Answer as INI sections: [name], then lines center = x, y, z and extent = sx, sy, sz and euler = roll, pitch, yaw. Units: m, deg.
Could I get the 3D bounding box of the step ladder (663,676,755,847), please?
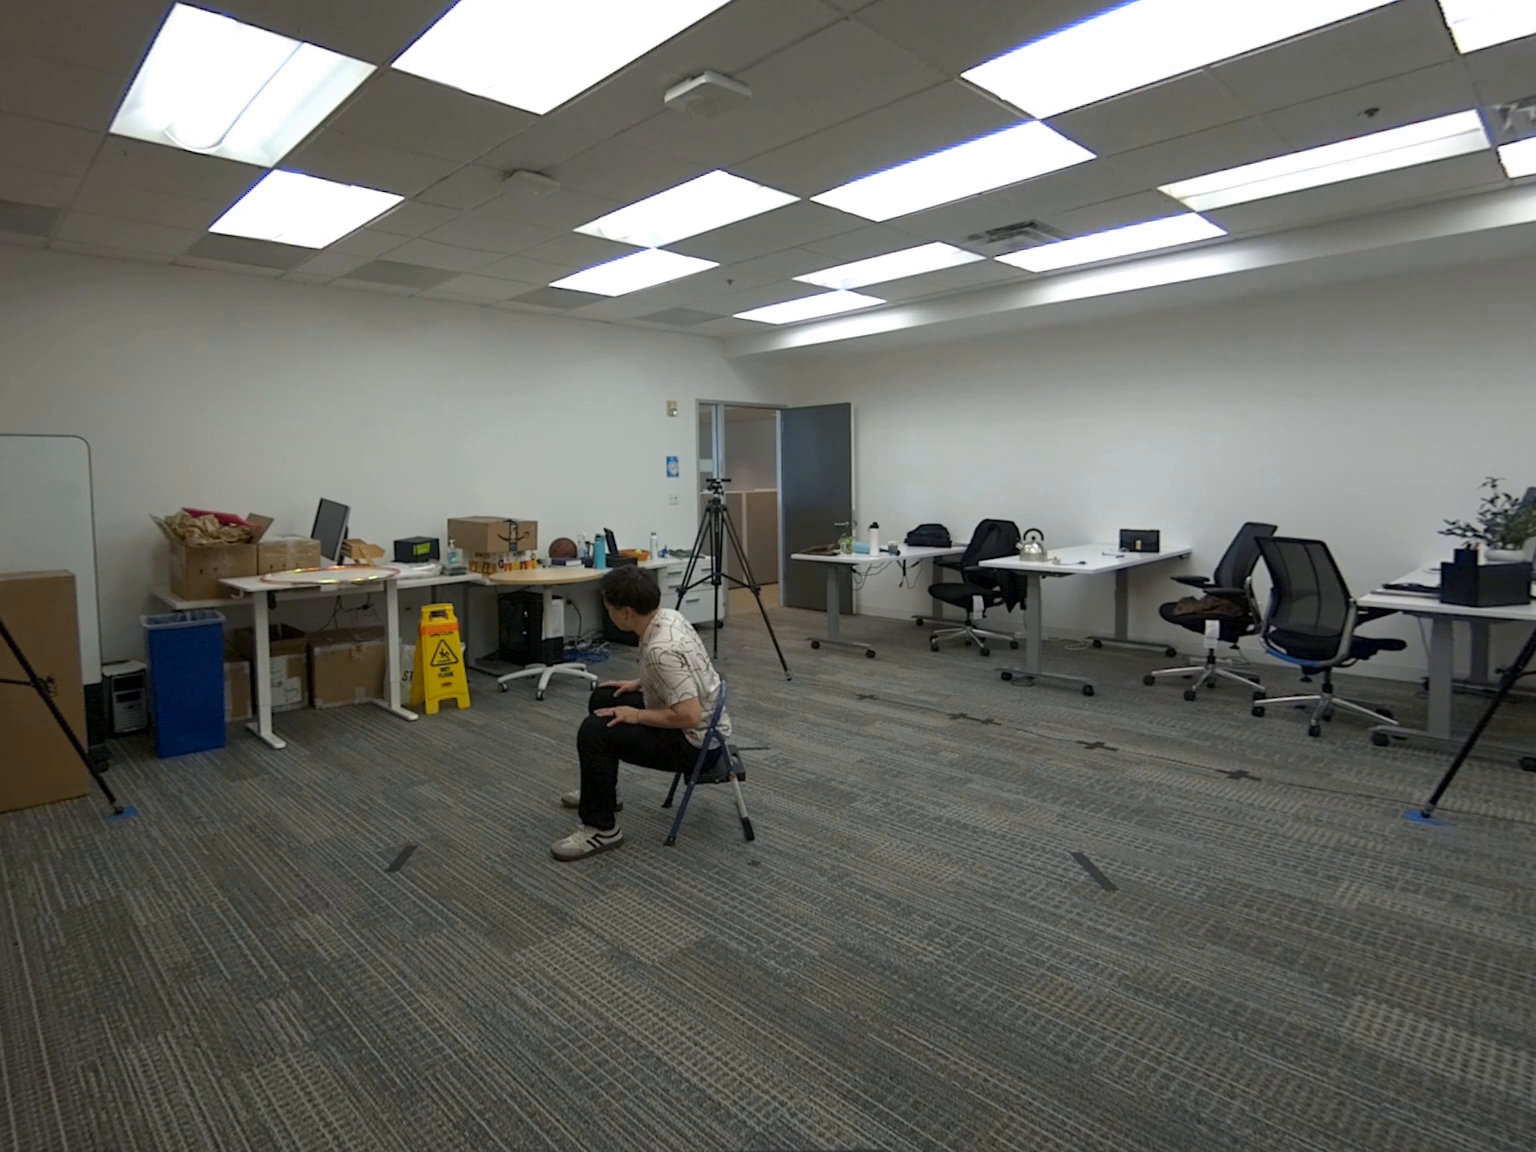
[step ladder]
center = -0.253, 0.708, 3.464
extent = 0.347, 0.604, 0.435
euler = -1, 4, -8
